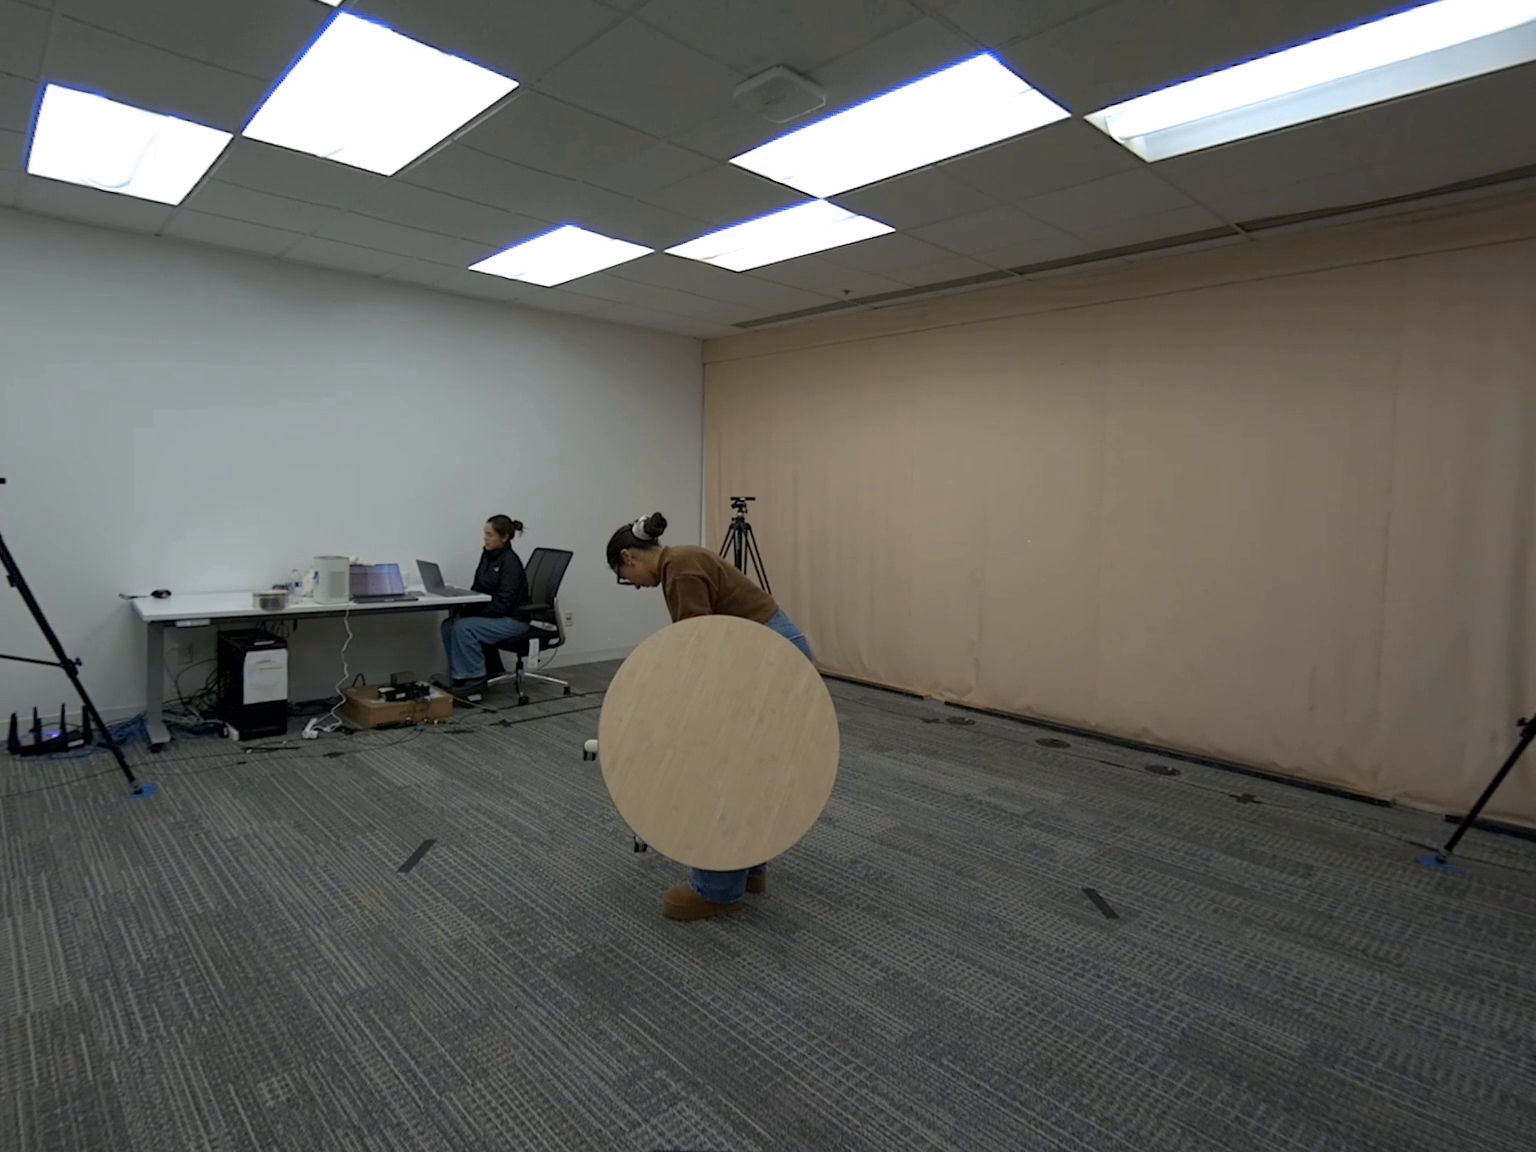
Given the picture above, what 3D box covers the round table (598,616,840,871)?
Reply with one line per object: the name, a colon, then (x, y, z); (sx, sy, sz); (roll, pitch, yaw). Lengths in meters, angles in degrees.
round table: (-0.265, 0.603, 2.948); (0.753, 0.774, 0.794); (0, -17, -18)
